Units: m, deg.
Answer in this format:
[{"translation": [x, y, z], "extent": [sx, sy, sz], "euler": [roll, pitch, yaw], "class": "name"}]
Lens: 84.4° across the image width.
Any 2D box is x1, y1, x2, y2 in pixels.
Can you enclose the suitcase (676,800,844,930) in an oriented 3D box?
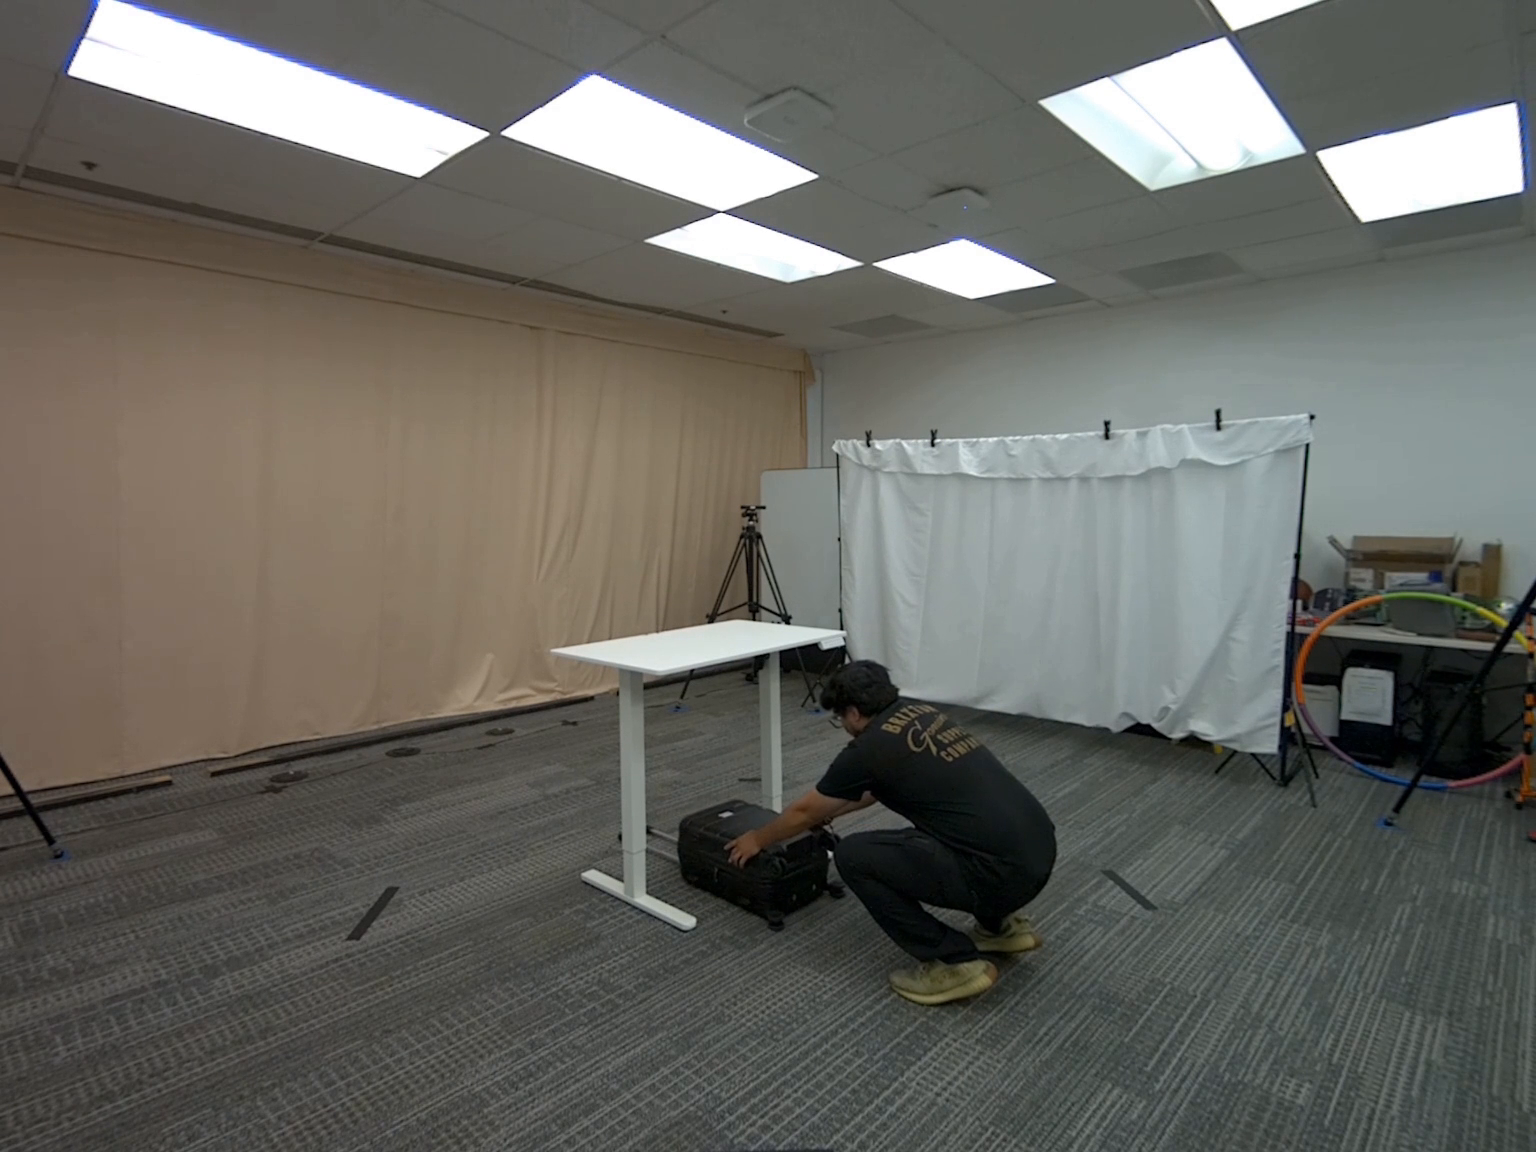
[{"translation": [-0.200, 1.002, 3.211], "extent": [1.012, 0.256, 0.372], "euler": [5, 8, 43], "class": "suitcase"}]
